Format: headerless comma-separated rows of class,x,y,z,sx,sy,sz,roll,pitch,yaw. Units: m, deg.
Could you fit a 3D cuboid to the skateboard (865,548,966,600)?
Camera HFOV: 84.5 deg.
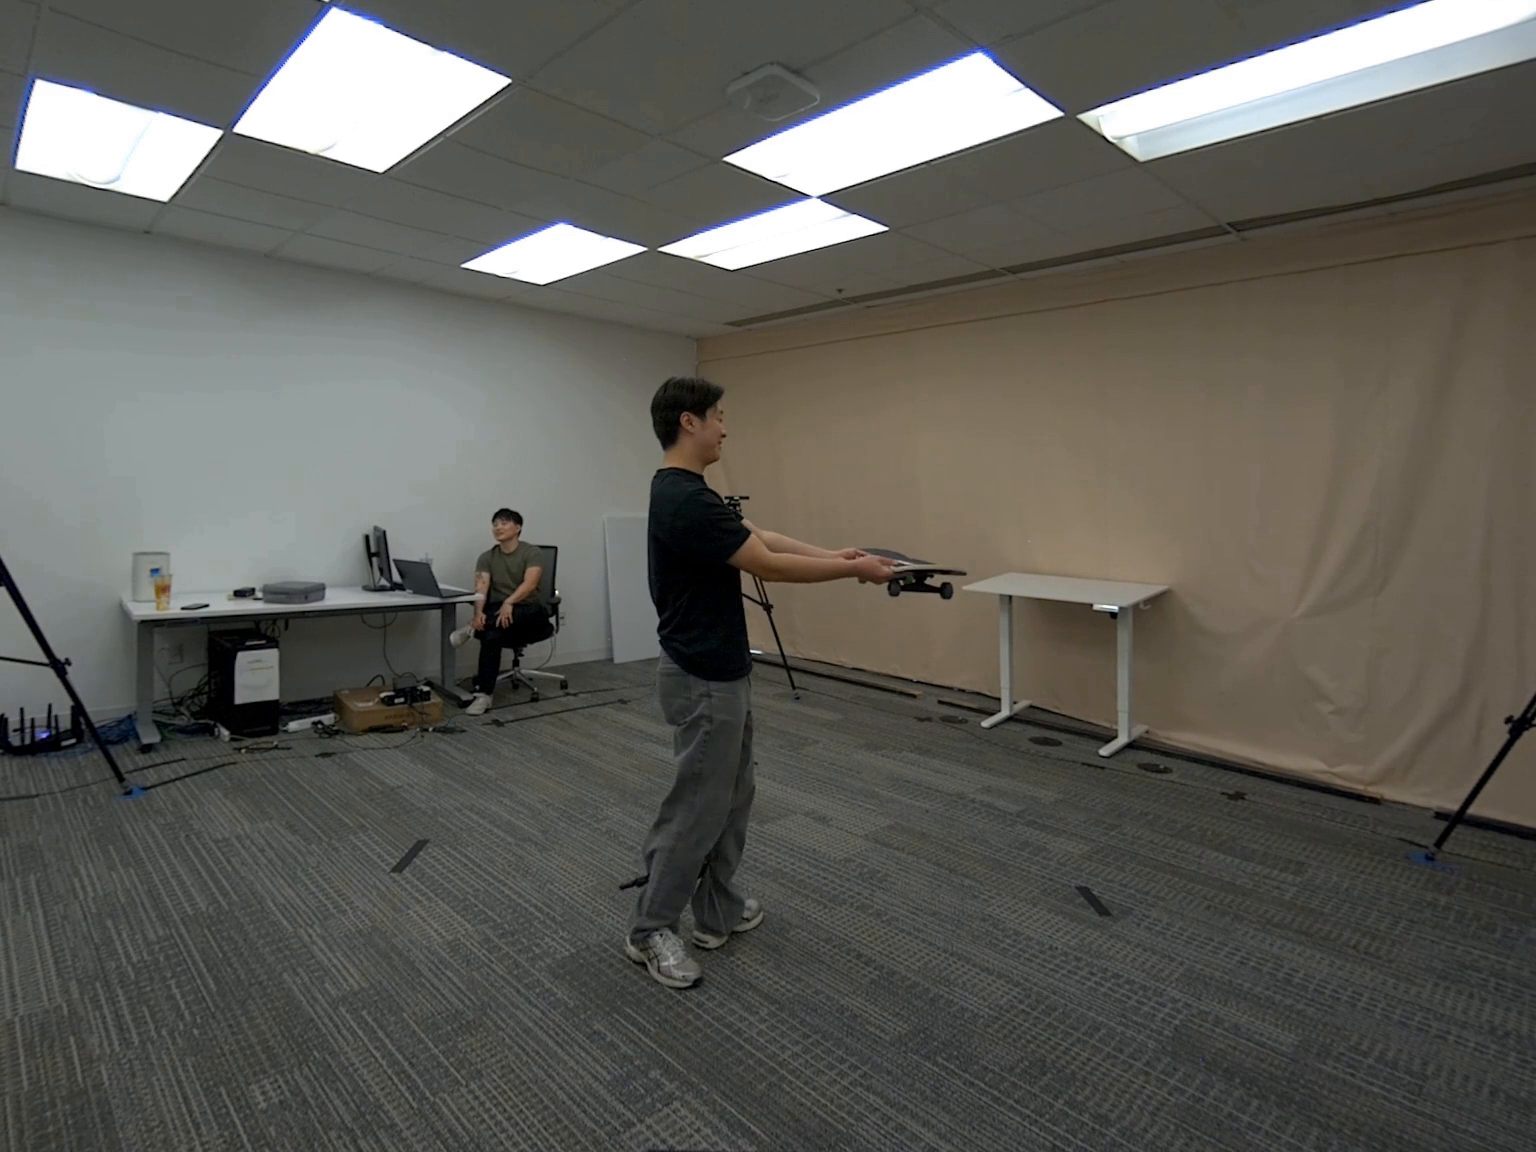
skateboard,0.403,-0.007,2.610,0.193,0.110,0.791,2,5,-6
